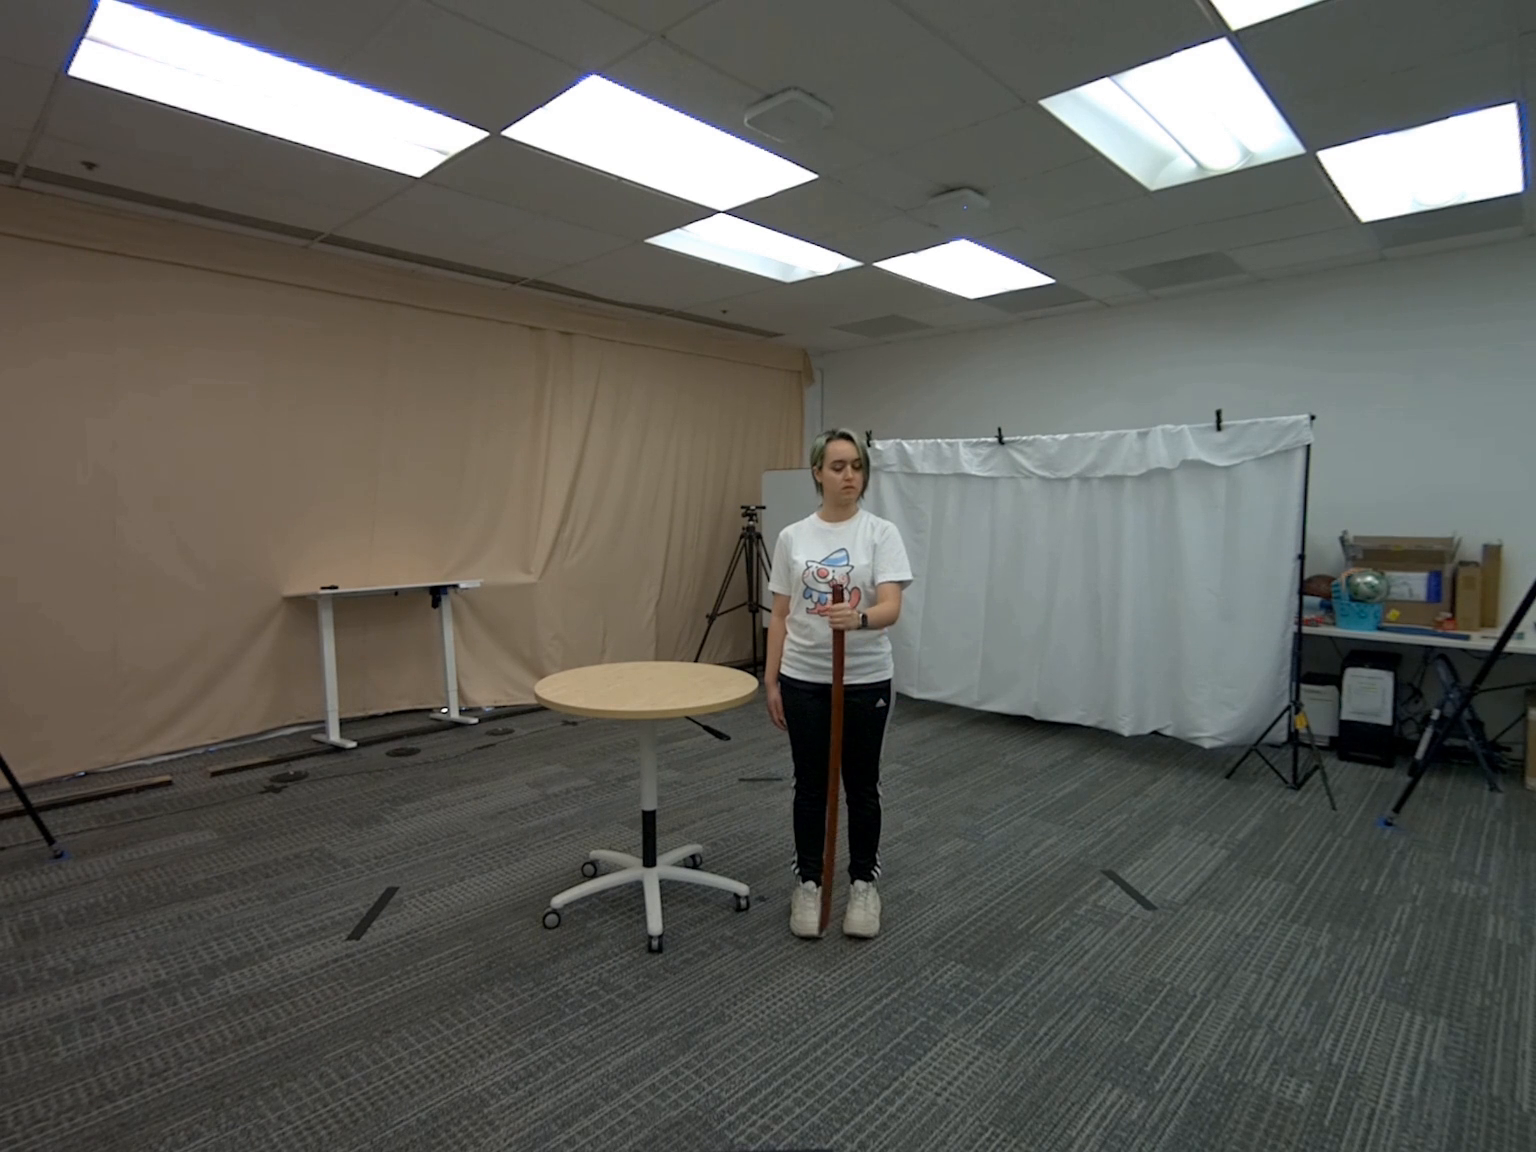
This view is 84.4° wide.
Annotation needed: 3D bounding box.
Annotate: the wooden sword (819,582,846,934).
[{"bbox_3d":[0.191,0.546,2.423,0.050,1.021,0.025,-3,6,-25],"label":"wooden sword"}]
